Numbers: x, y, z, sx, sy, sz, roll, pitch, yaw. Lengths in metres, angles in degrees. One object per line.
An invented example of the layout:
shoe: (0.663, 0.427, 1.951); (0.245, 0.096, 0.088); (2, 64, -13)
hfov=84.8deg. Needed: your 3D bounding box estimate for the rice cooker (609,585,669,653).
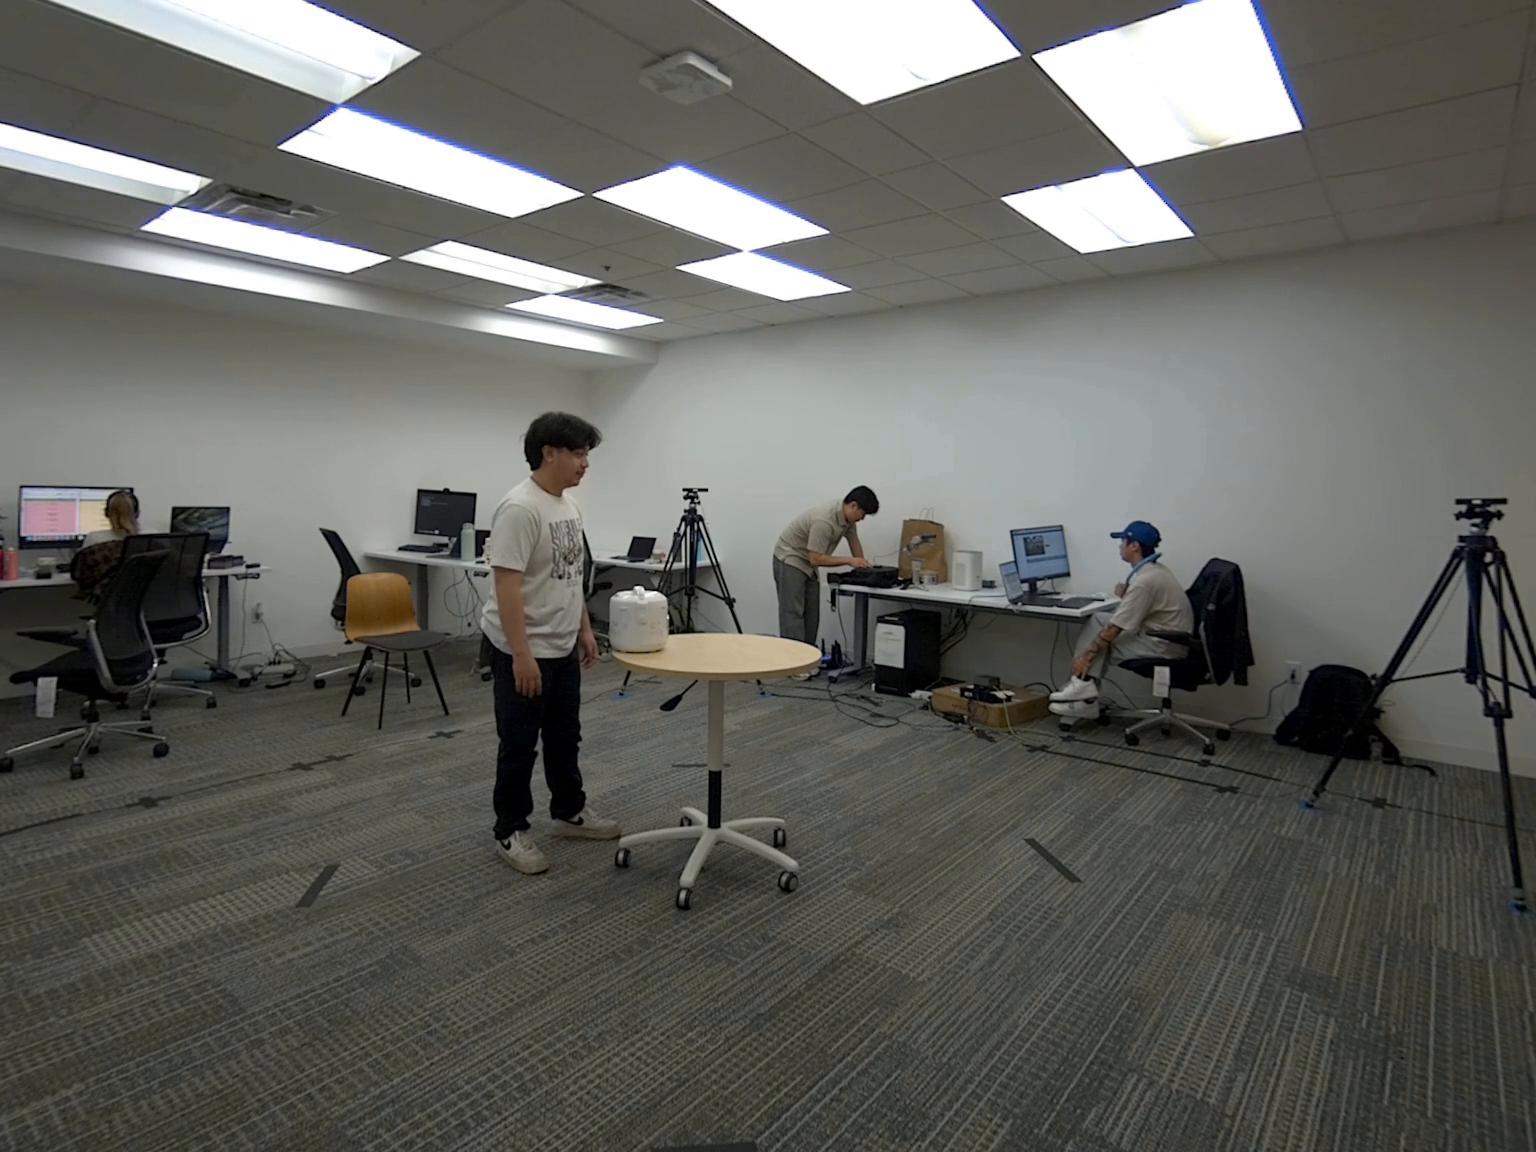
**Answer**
rice cooker: (-0.486, 0.154, 3.127); (0.214, 0.232, 0.224); (-1, 5, -13)
